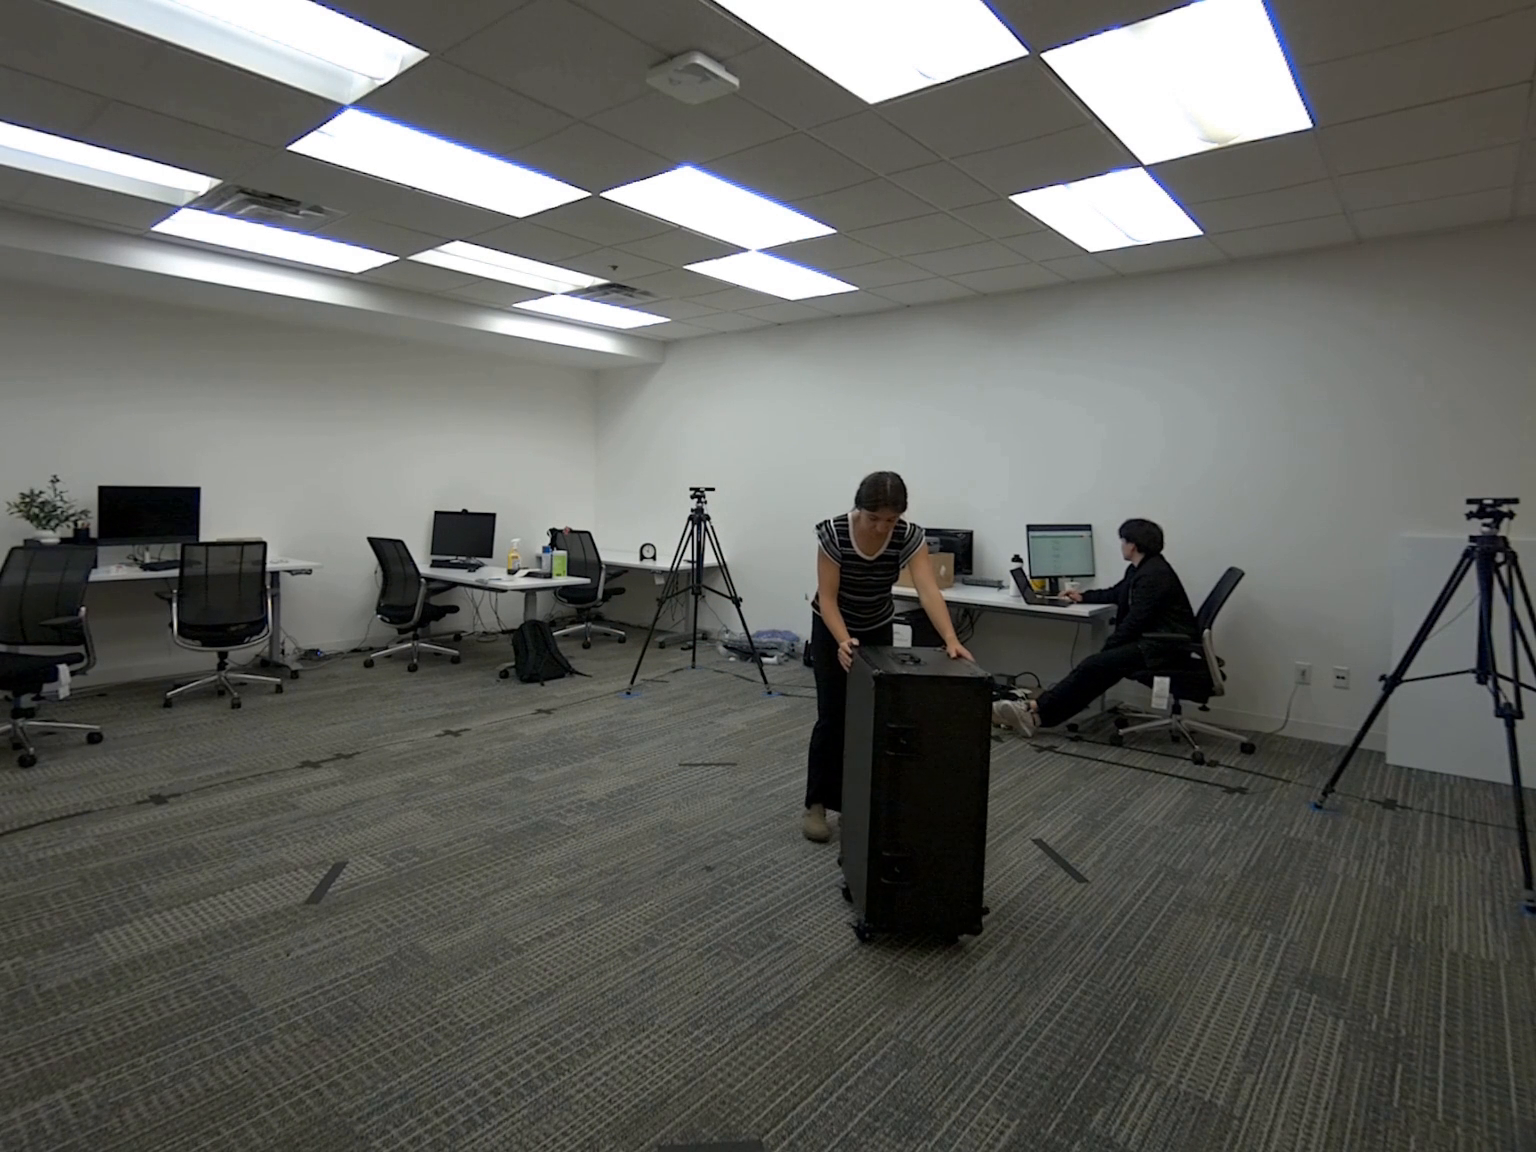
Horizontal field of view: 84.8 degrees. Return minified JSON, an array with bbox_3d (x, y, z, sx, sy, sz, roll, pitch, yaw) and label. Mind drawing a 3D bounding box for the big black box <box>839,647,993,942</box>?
[{"bbox_3d":[0.459,0.694,2.768,0.396,0.859,0.523,2,3,-2],"label":"big black box"}]
